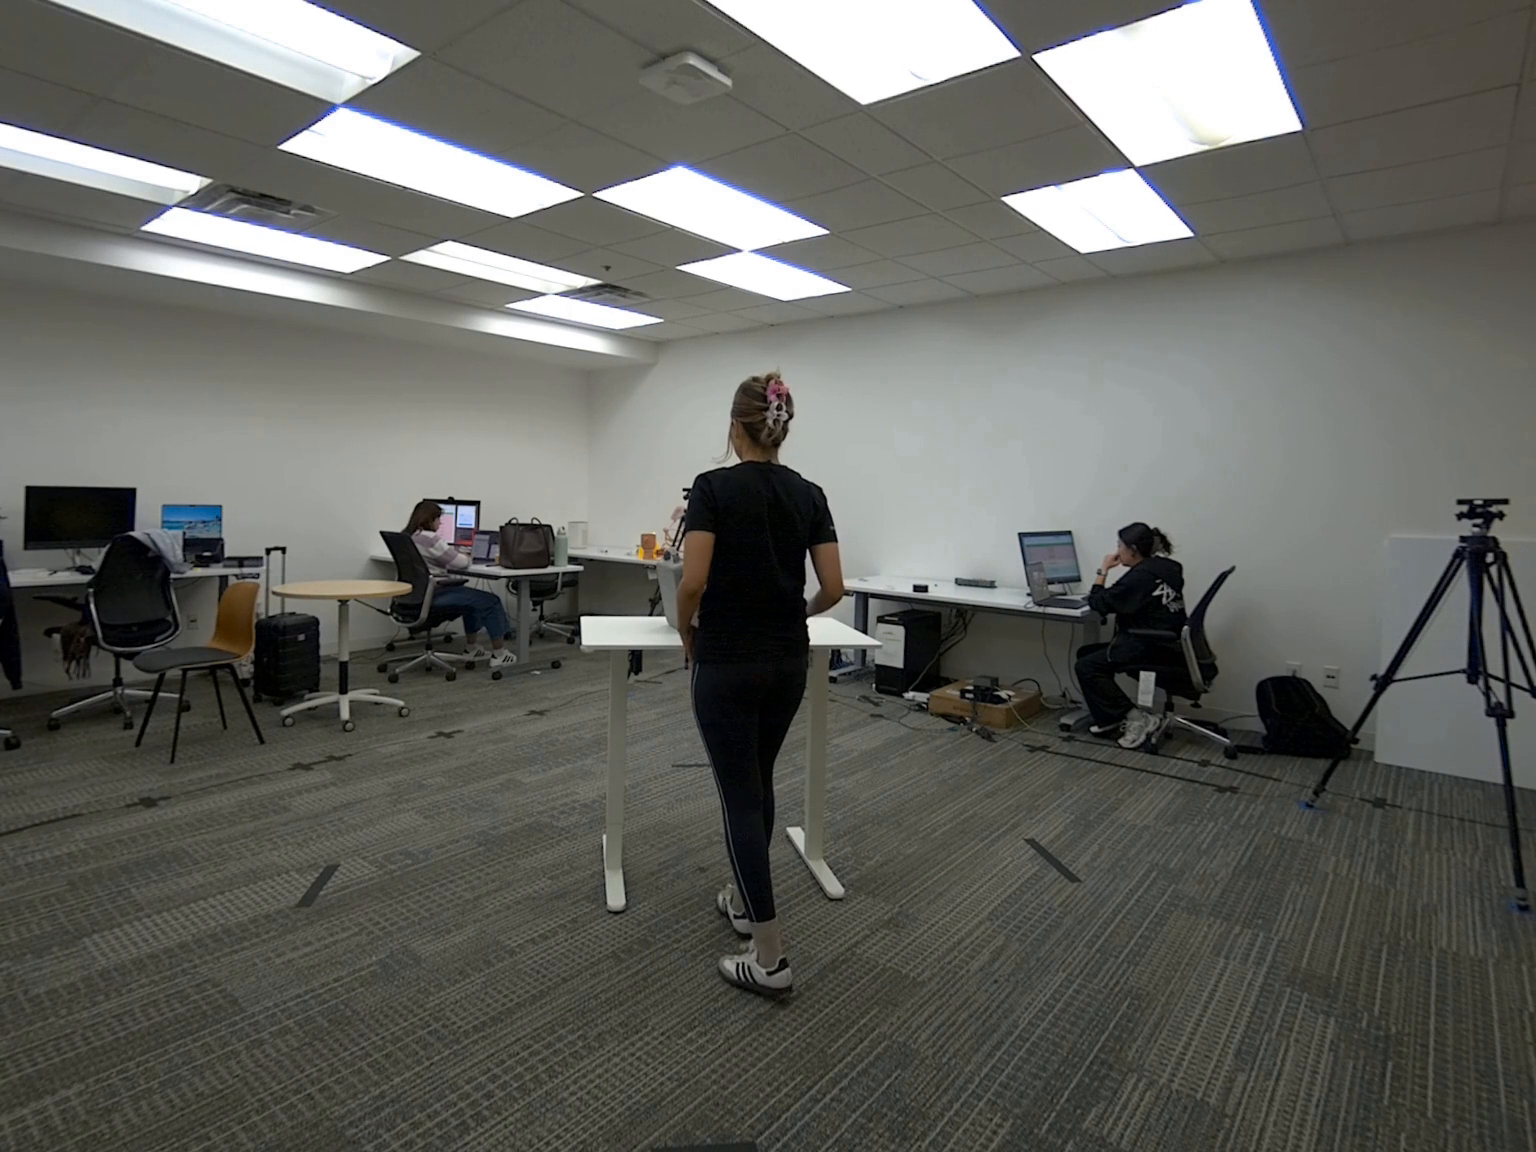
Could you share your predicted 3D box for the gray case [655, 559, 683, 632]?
[{"bbox_3d":[-0.314,0.059,3.049,0.102,0.259,0.263,-10,8,-21],"label":"gray case"}]
